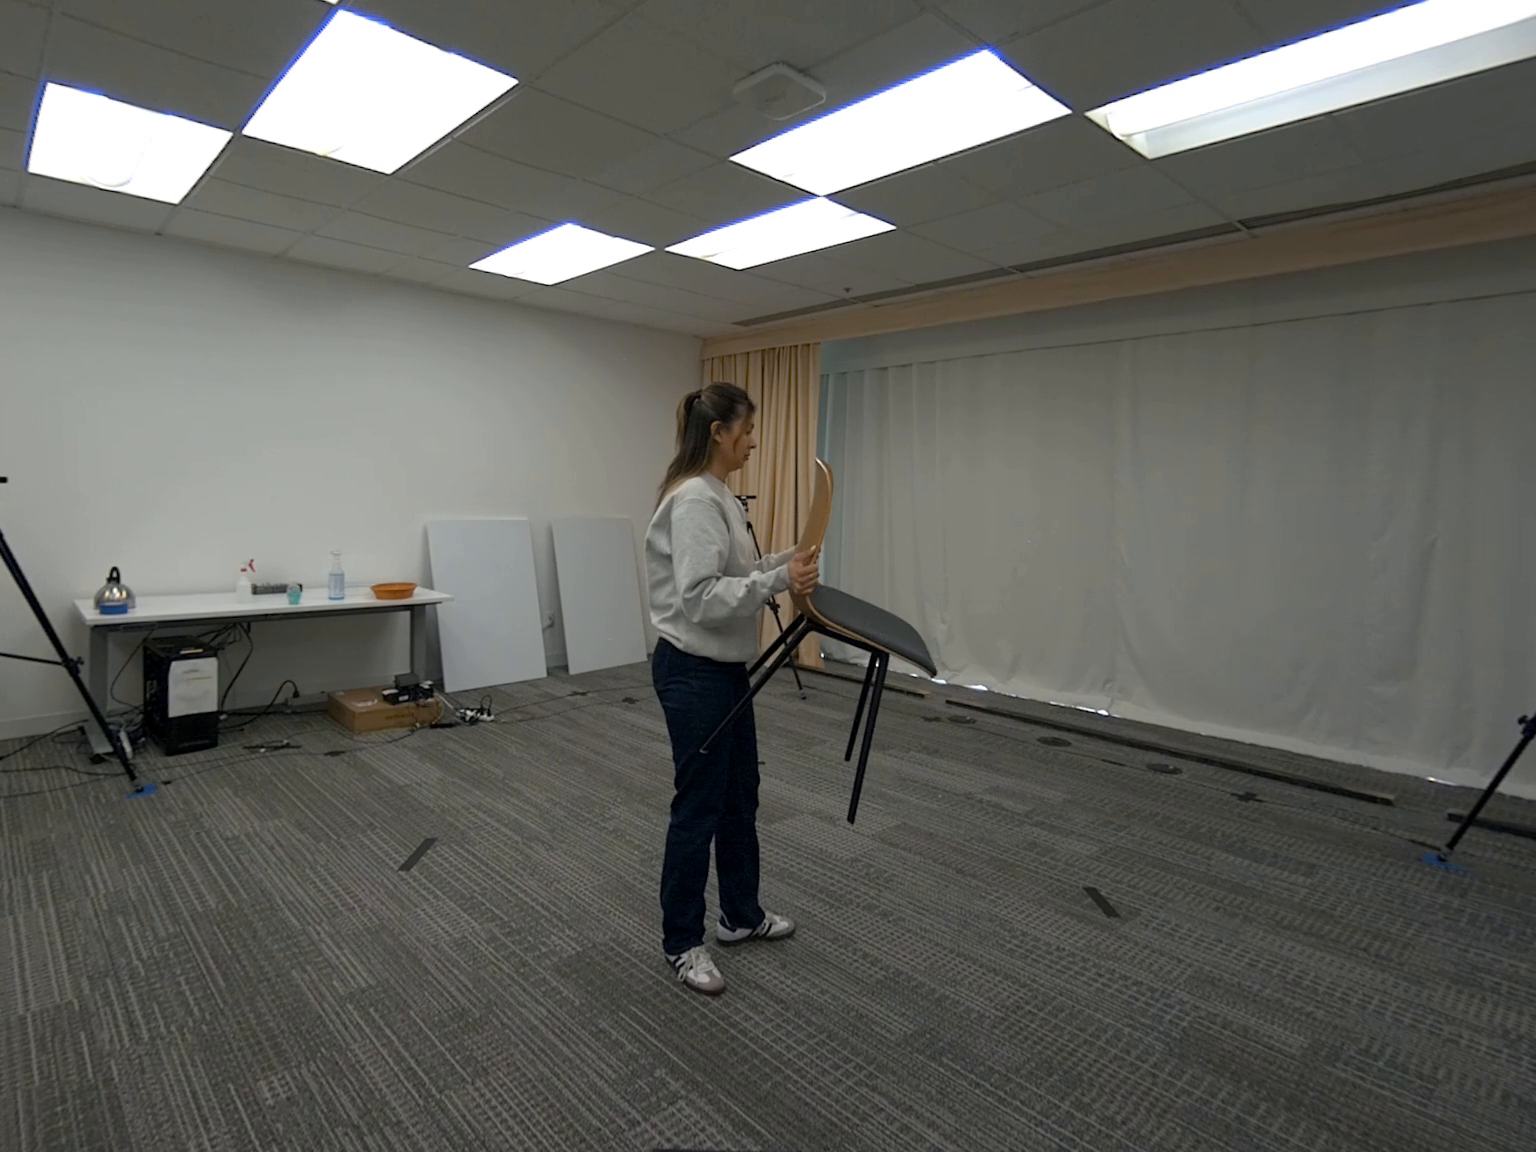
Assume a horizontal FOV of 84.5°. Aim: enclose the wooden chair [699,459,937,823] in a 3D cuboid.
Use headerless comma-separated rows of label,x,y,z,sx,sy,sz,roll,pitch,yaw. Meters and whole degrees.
wooden chair,0.220,0.165,2.417,0.524,0.874,0.478,22,8,2
